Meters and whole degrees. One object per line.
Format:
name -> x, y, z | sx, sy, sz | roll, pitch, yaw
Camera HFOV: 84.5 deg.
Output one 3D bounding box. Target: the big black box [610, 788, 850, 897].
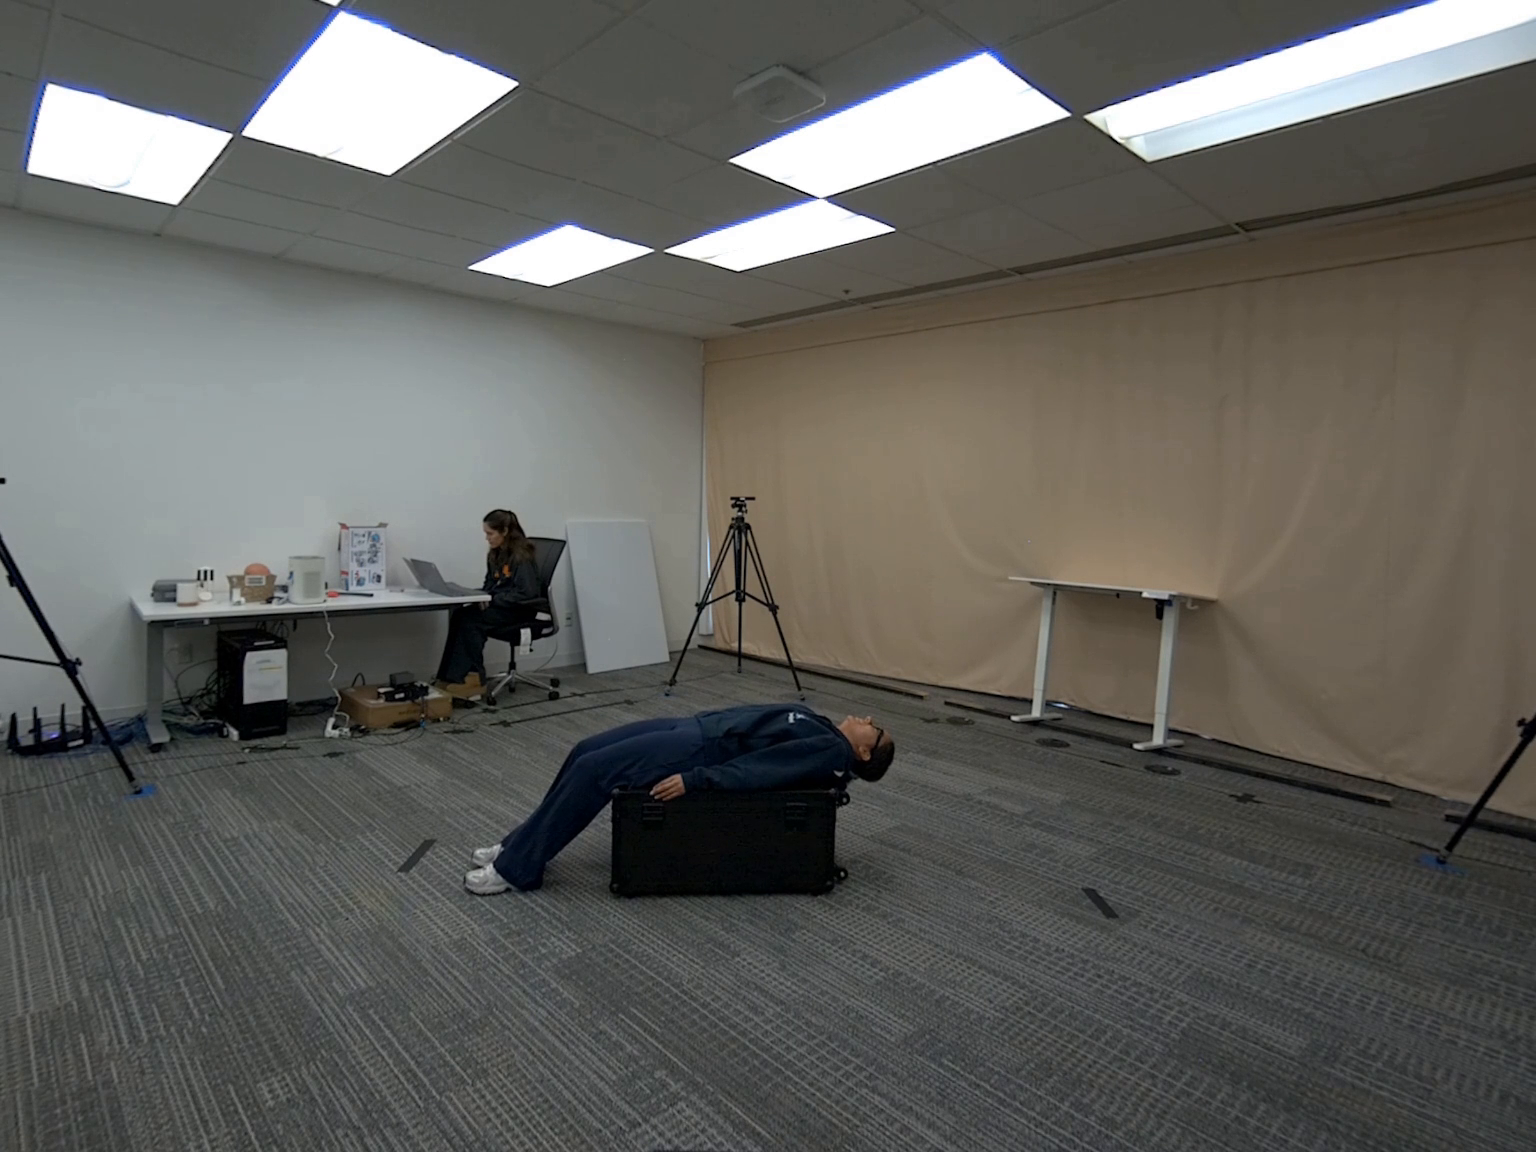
big black box -> -0.147, 0.916, 3.156 | 0.857, 0.396, 0.524 | 0, 3, -6
